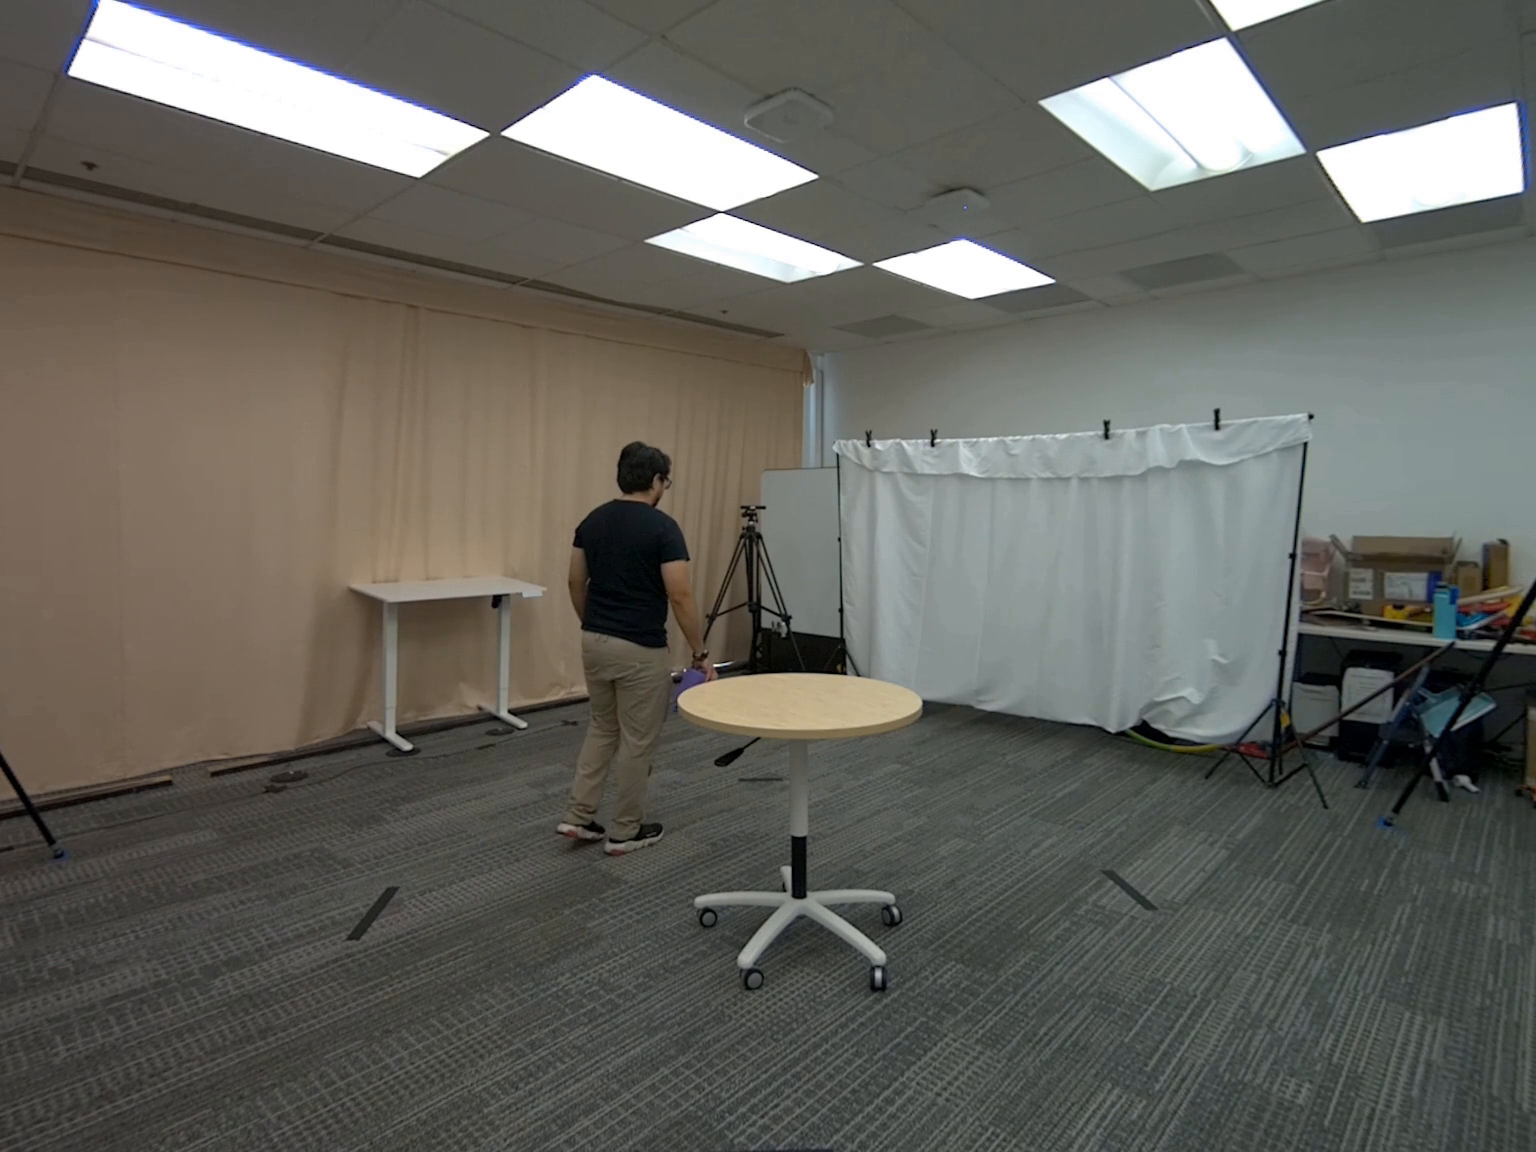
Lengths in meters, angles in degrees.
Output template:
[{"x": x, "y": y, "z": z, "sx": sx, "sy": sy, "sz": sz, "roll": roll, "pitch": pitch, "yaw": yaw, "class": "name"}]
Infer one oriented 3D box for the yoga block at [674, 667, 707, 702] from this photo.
[{"x": -0.287, "y": 0.468, "z": 3.391, "sx": 0.078, "sy": 0.149, "sz": 0.223, "roll": 21, "pitch": -7, "yaw": 24, "class": "yoga block"}]
